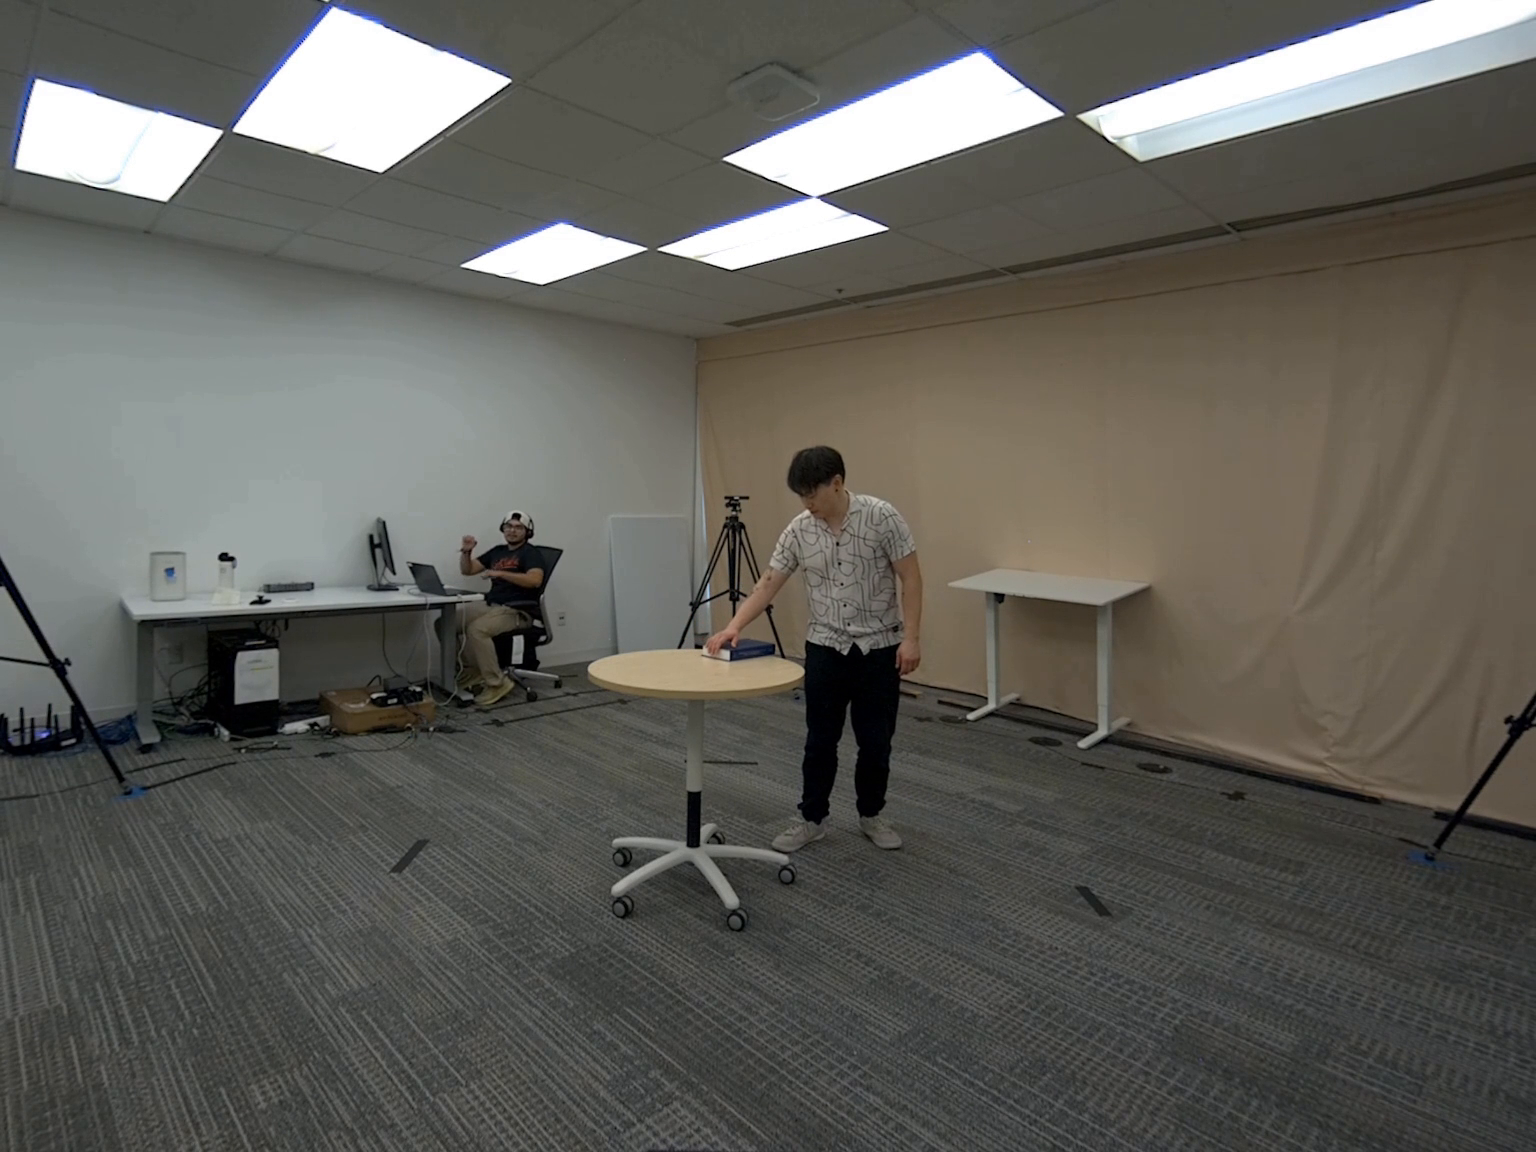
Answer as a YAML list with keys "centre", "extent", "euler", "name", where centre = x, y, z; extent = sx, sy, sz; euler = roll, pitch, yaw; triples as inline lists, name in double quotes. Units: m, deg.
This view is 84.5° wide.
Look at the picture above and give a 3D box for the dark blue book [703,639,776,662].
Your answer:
- centre: [-0.121, 0.286, 3.259]
  extent: [0.167, 0.045, 0.239]
  euler: [5, 6, 44]
  name: "dark blue book"
